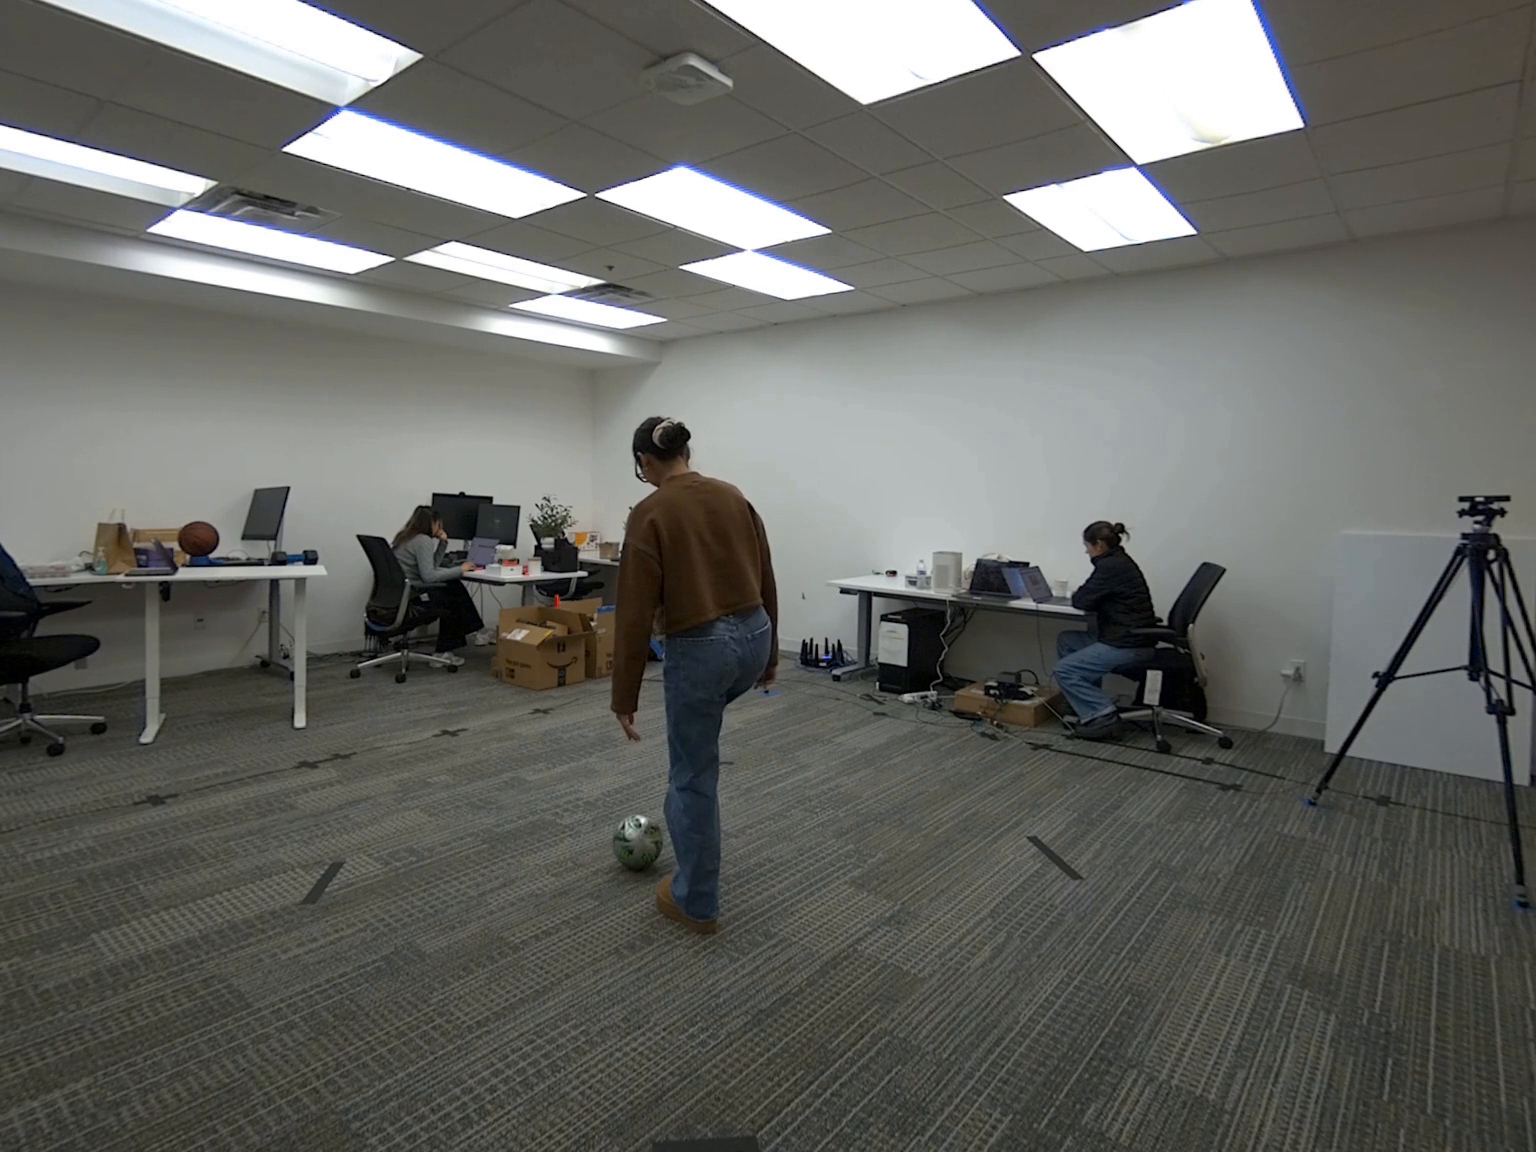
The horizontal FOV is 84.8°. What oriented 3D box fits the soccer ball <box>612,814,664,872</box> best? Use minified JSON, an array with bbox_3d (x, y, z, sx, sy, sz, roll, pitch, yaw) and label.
[{"bbox_3d":[-0.489,0.967,3.108,0.187,0.187,0.188,1,4,-2],"label":"soccer ball"}]
